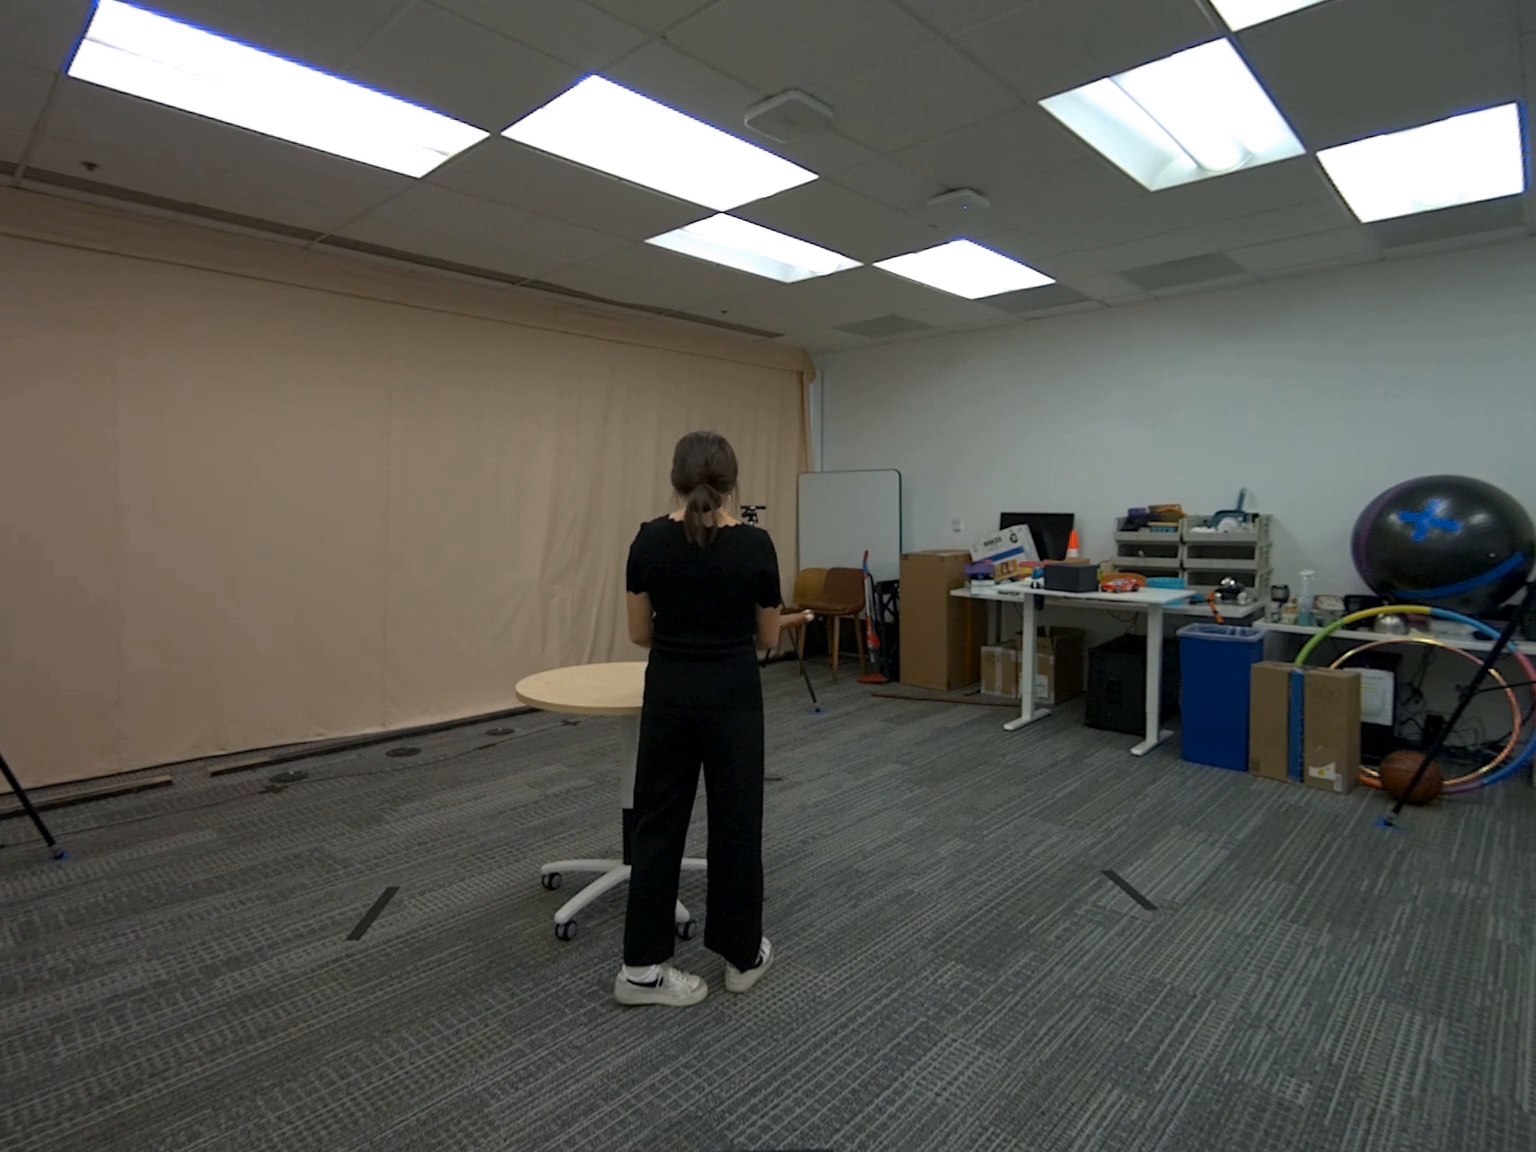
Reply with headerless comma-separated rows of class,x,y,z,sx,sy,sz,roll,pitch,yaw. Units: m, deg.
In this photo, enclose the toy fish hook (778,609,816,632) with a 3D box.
toy fish hook,-0.064,0.231,2.676,0.502,0.047,0.231,-17,35,-9
